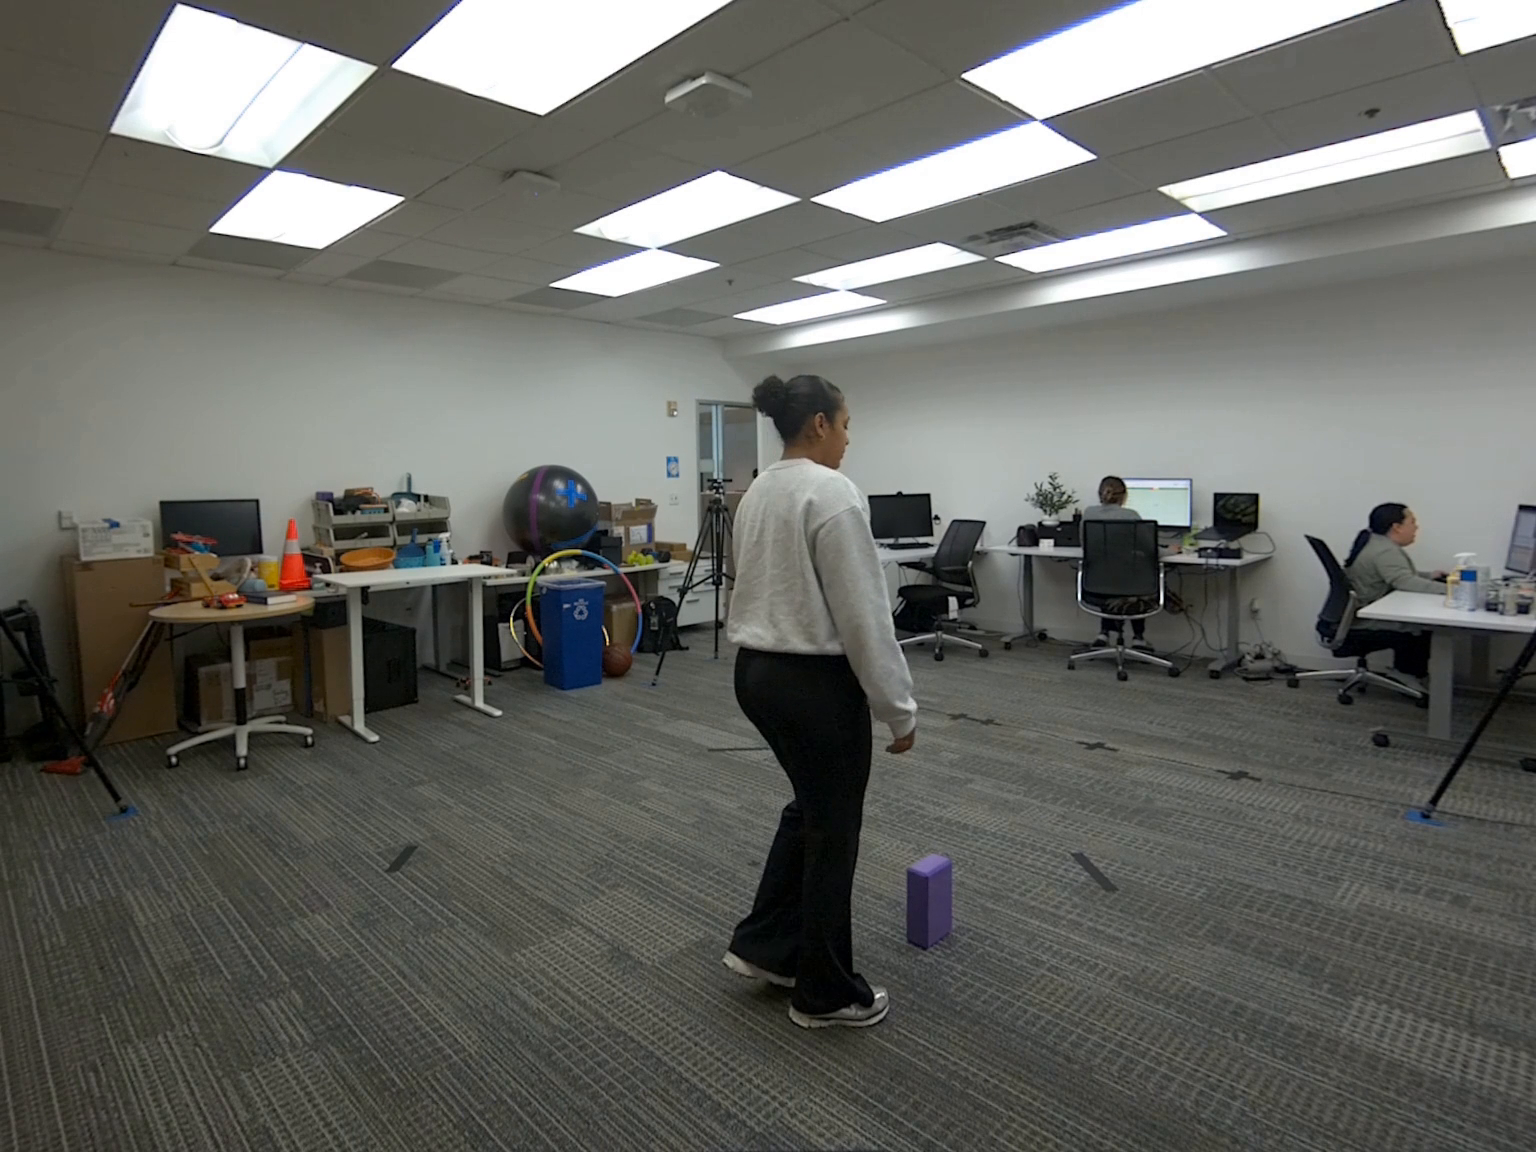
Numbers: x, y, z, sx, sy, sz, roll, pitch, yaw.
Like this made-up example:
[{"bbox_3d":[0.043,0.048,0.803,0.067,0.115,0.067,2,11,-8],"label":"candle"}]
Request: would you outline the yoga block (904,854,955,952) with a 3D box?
[{"bbox_3d":[0.492,0.979,2.582,0.145,0.229,0.079,-4,4,-45],"label":"yoga block"}]
